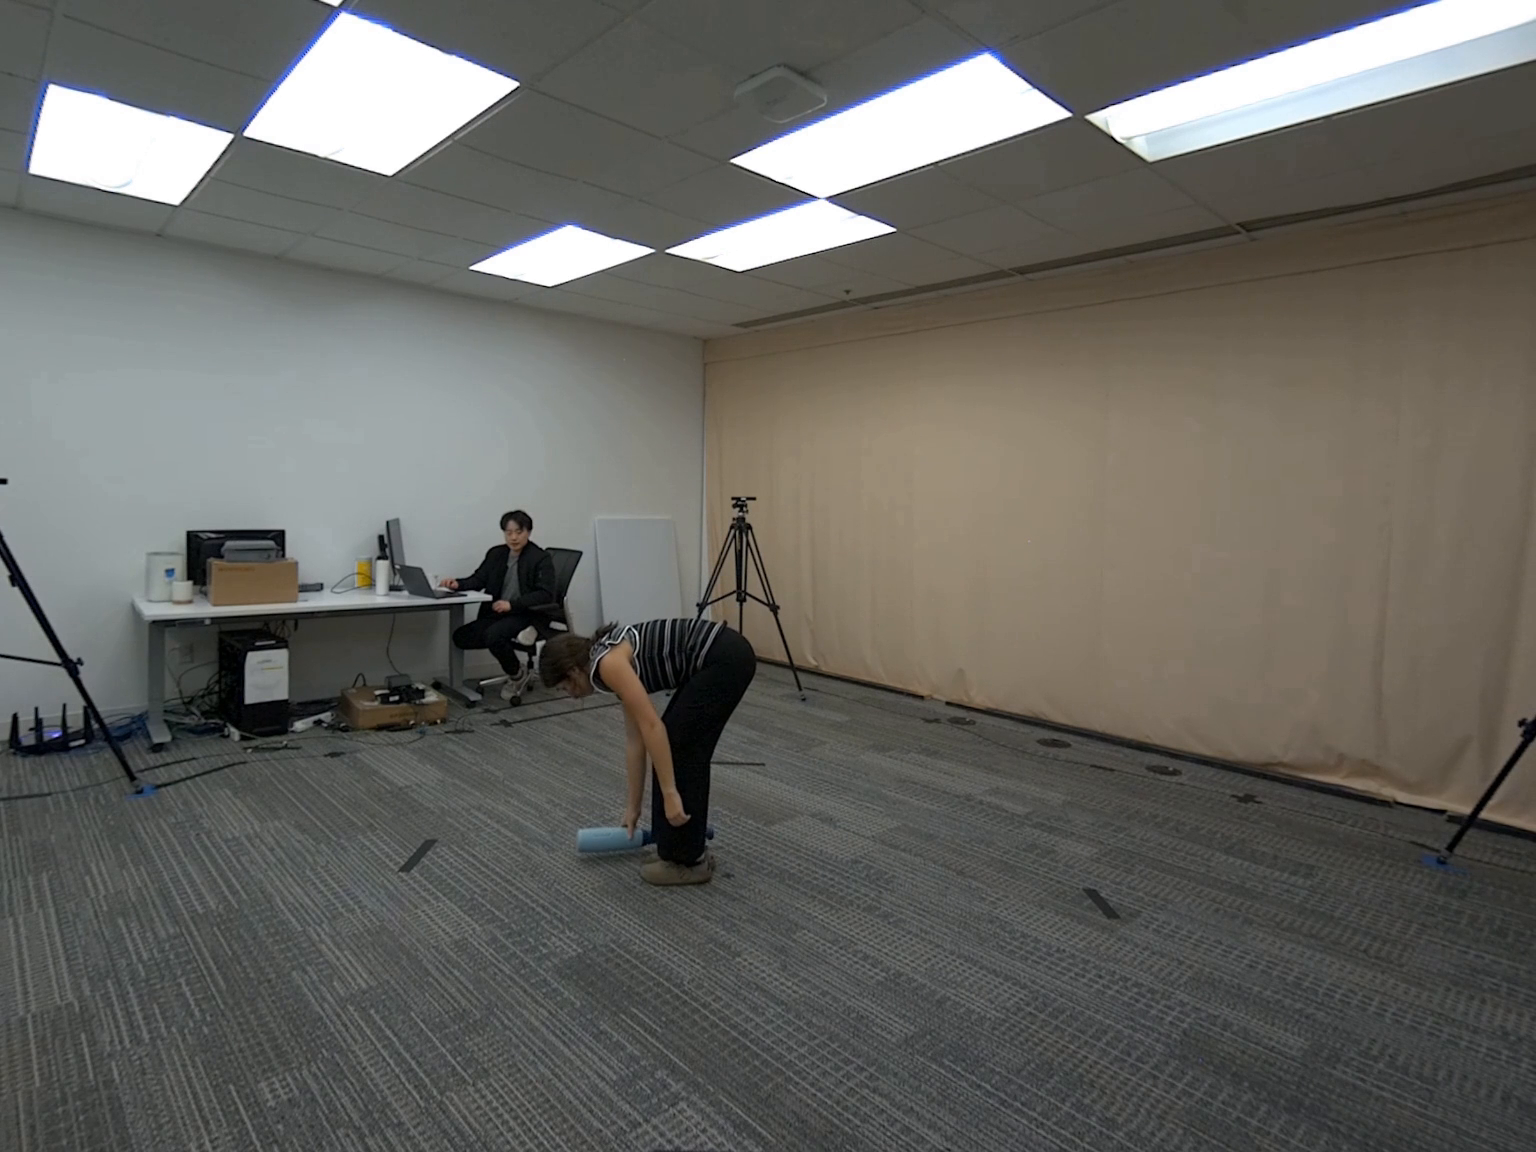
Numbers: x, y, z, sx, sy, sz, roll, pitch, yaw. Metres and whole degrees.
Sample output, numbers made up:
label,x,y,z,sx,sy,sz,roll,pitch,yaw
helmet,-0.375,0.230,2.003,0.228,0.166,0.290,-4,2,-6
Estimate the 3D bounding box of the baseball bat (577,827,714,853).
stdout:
label,x,y,z,sx,sy,sz,roll,pitch,yaw
baseball bat,-0.483,1.020,3.274,0.535,0.089,0.090,4,3,-17
